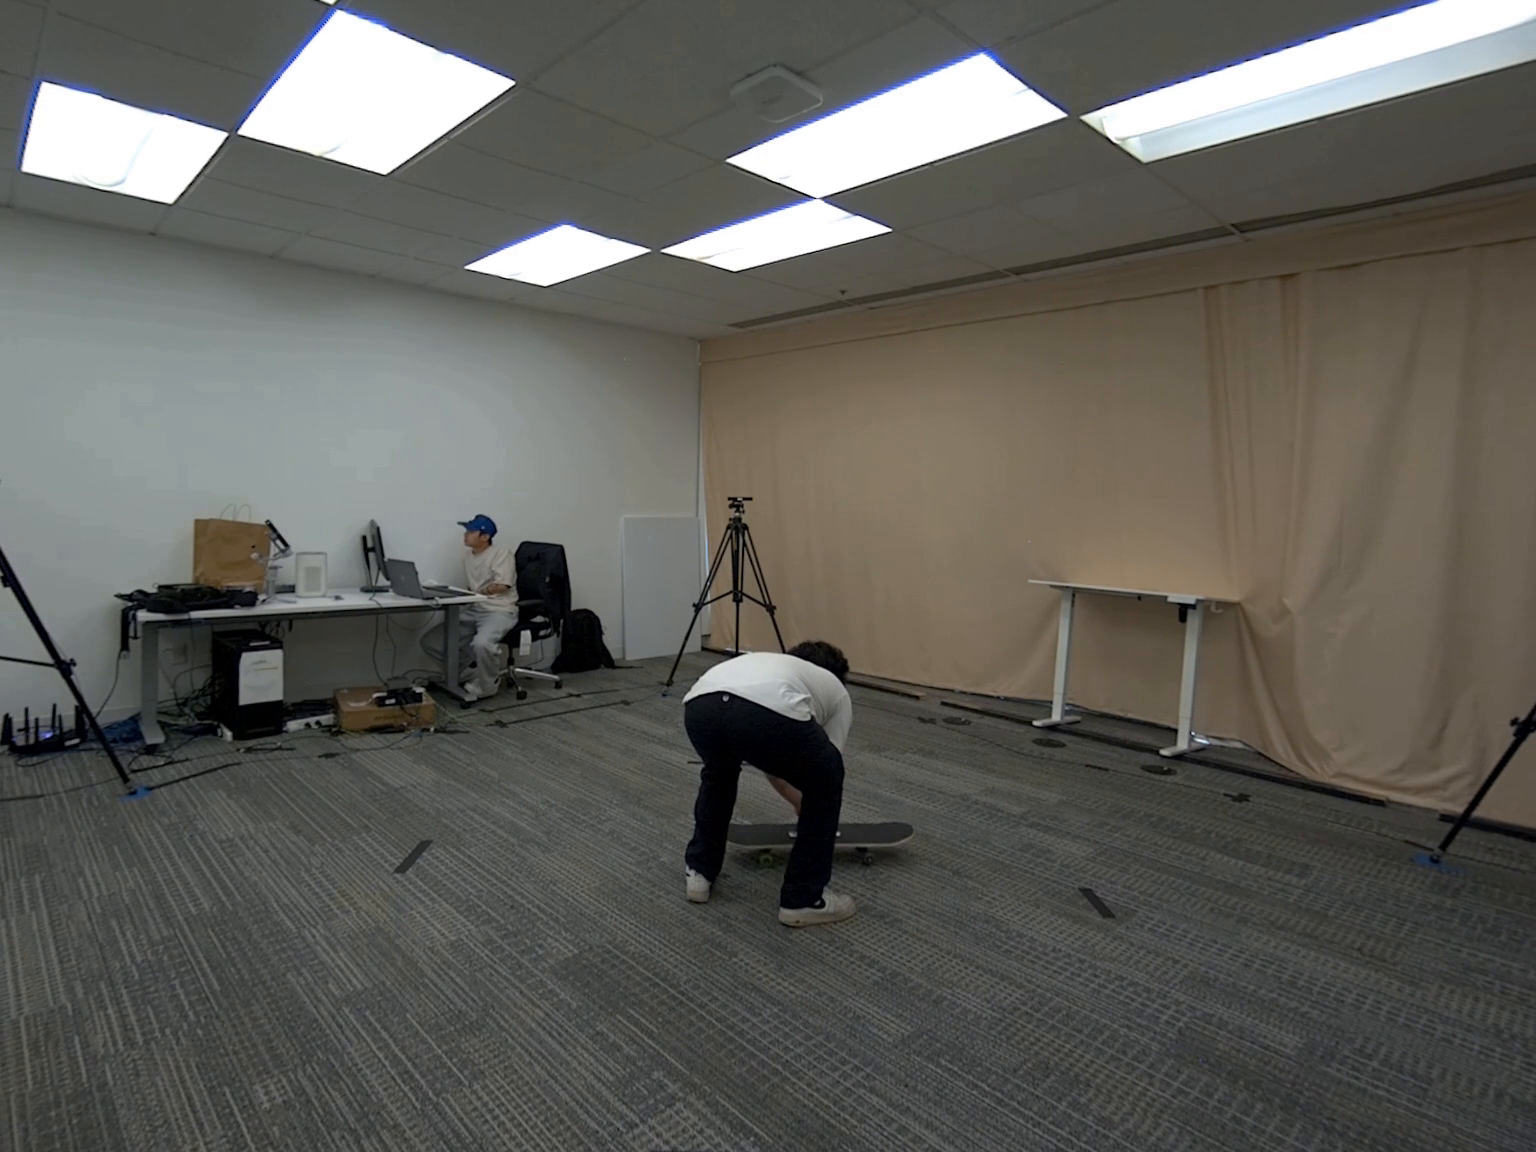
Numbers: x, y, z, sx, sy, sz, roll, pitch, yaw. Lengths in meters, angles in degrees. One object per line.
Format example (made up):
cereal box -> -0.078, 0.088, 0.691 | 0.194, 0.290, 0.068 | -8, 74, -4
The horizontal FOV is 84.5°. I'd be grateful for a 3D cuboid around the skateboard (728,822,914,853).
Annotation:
skateboard -> 0.171, 1.035, 3.282 | 0.782, 0.110, 0.195 | 1, 8, -5
